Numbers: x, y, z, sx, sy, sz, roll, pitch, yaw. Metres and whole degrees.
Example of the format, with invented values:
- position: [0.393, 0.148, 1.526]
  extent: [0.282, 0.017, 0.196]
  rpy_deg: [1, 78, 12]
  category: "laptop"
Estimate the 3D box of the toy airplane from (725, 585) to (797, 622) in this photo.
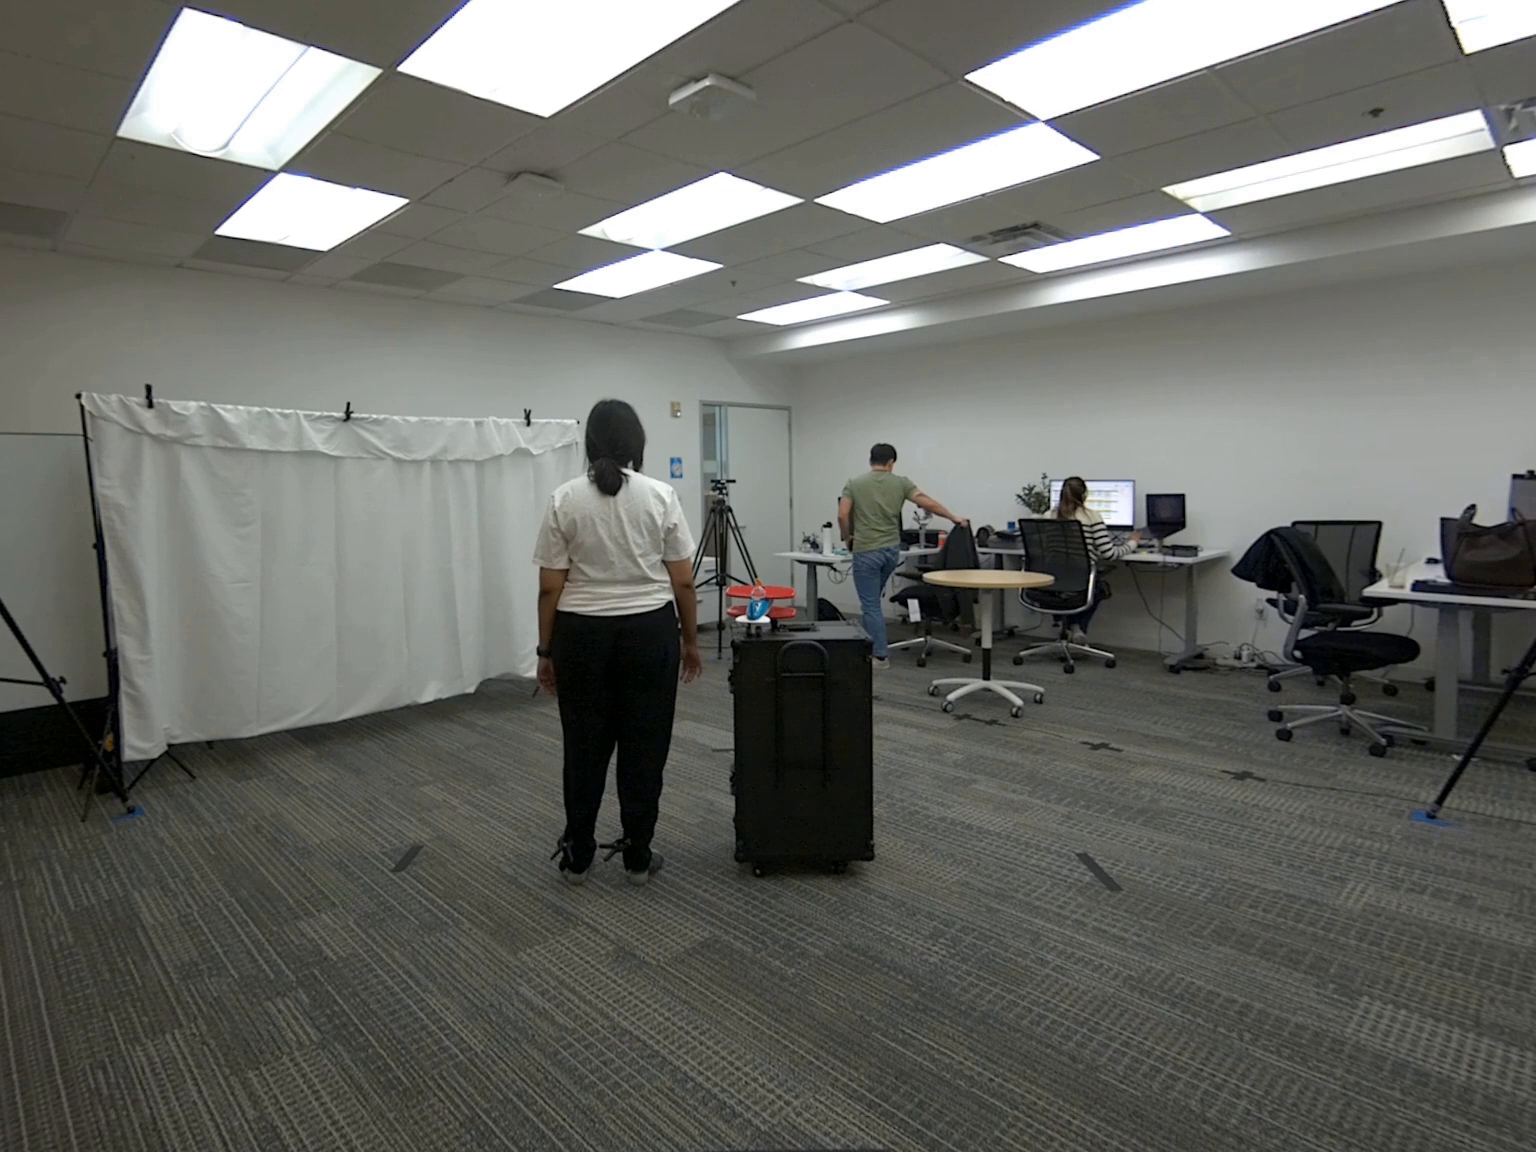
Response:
- position: [-0.018, 0.121, 3.087]
  extent: [0.247, 0.156, 0.264]
  rpy_deg: [-2, 6, -16]
  category: "toy airplane"
